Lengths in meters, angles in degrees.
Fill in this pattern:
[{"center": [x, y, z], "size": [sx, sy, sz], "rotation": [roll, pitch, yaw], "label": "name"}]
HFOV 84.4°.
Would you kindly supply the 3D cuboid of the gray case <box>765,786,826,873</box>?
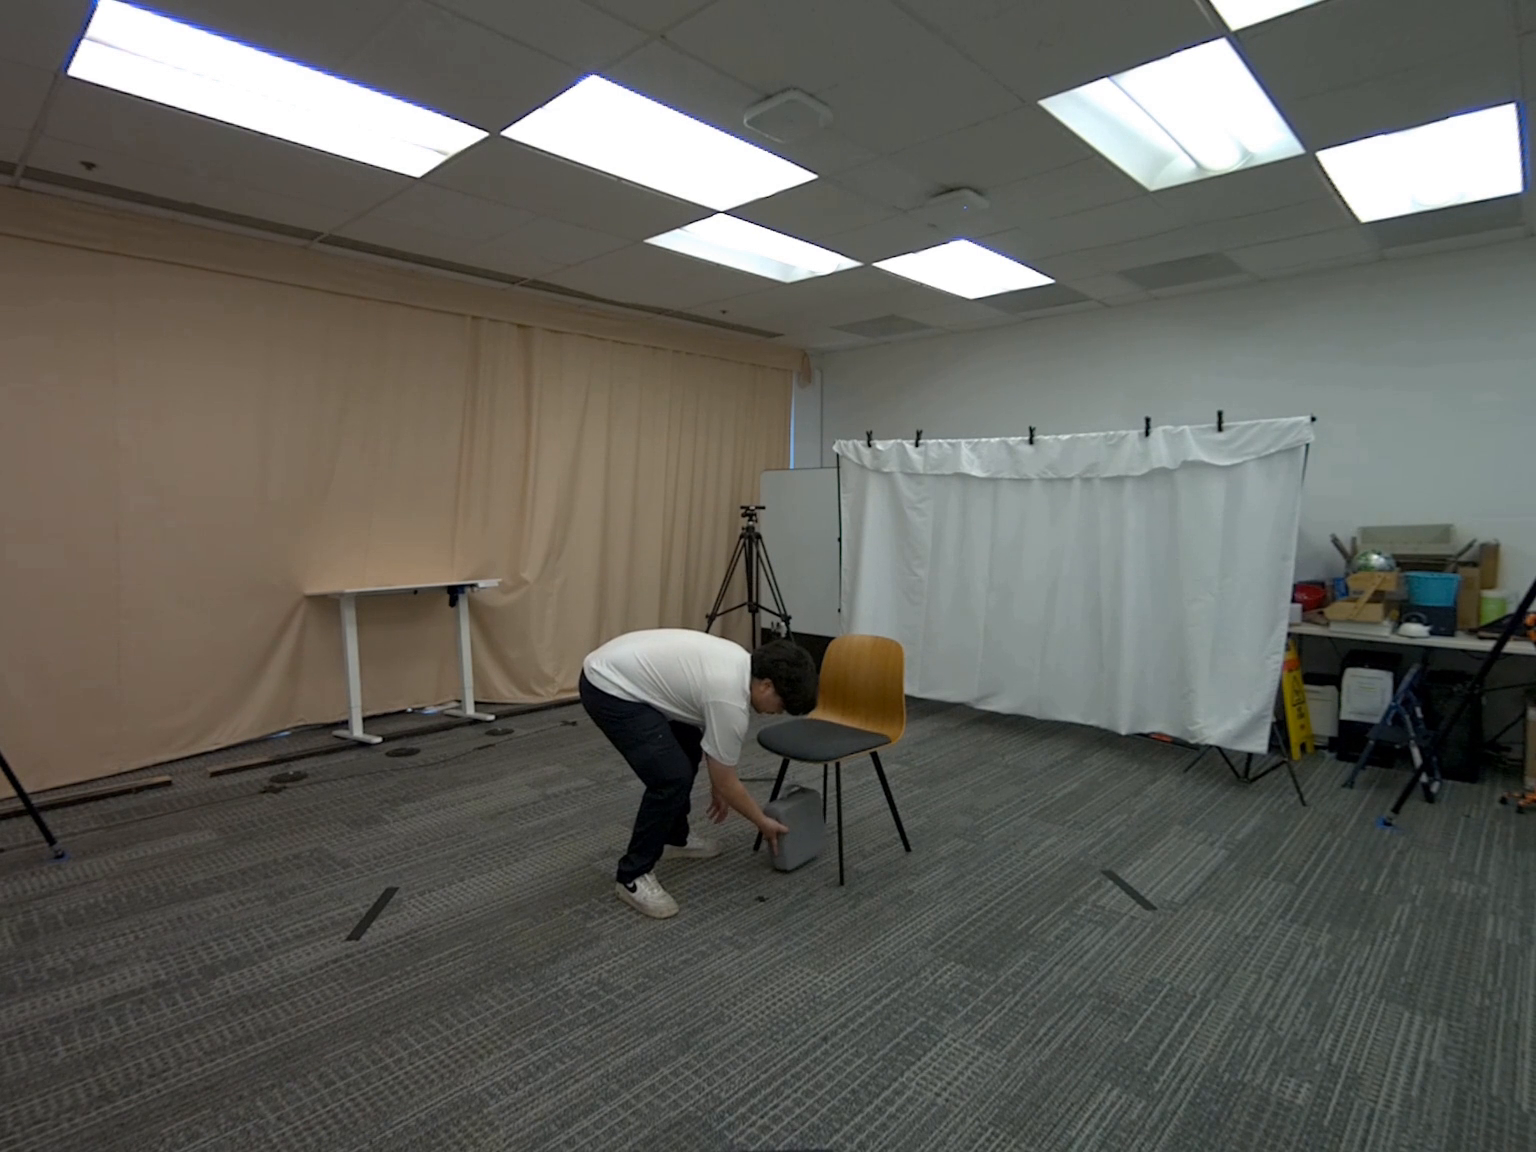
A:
[{"center": [0.111, 0.975, 3.260], "size": [0.250, 0.259, 0.108], "rotation": [-11, 7, -44], "label": "gray case"}]
